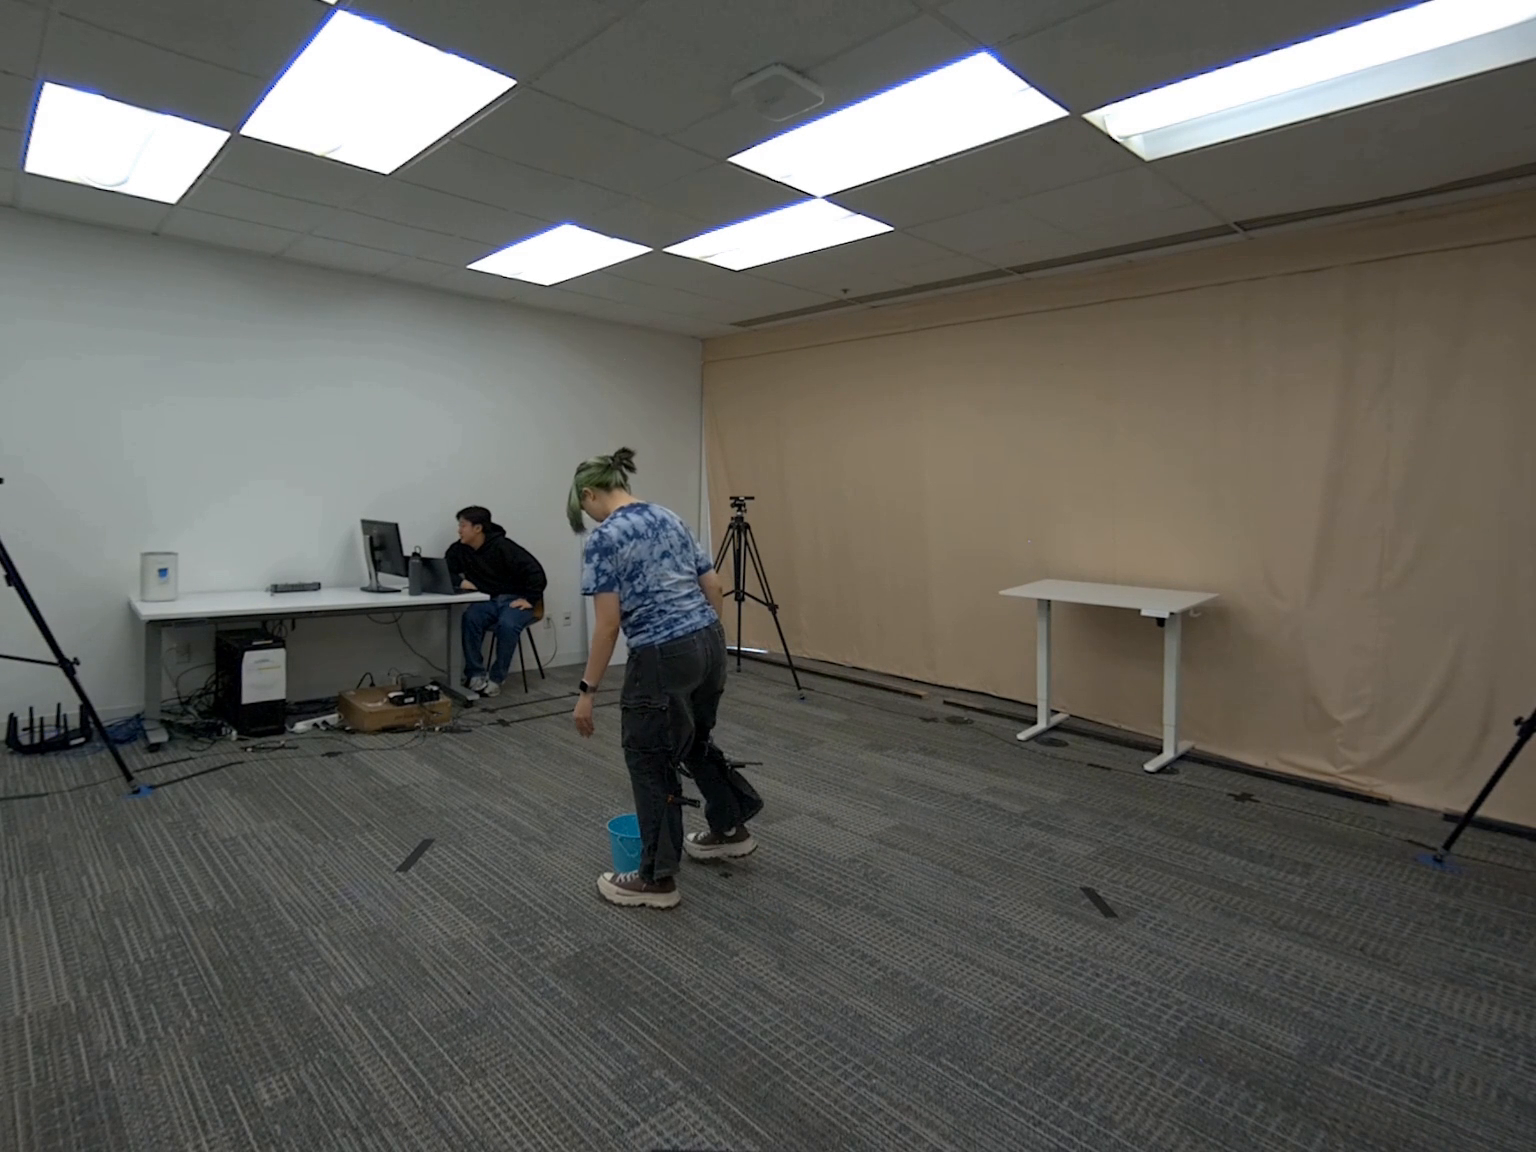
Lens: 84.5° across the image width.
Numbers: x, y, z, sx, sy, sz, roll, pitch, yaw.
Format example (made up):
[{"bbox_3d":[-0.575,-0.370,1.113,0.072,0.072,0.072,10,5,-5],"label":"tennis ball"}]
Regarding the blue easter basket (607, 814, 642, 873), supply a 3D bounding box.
[{"bbox_3d":[-0.500,1.016,3.167,0.243,0.155,0.244,1,4,-1],"label":"blue easter basket"}]
